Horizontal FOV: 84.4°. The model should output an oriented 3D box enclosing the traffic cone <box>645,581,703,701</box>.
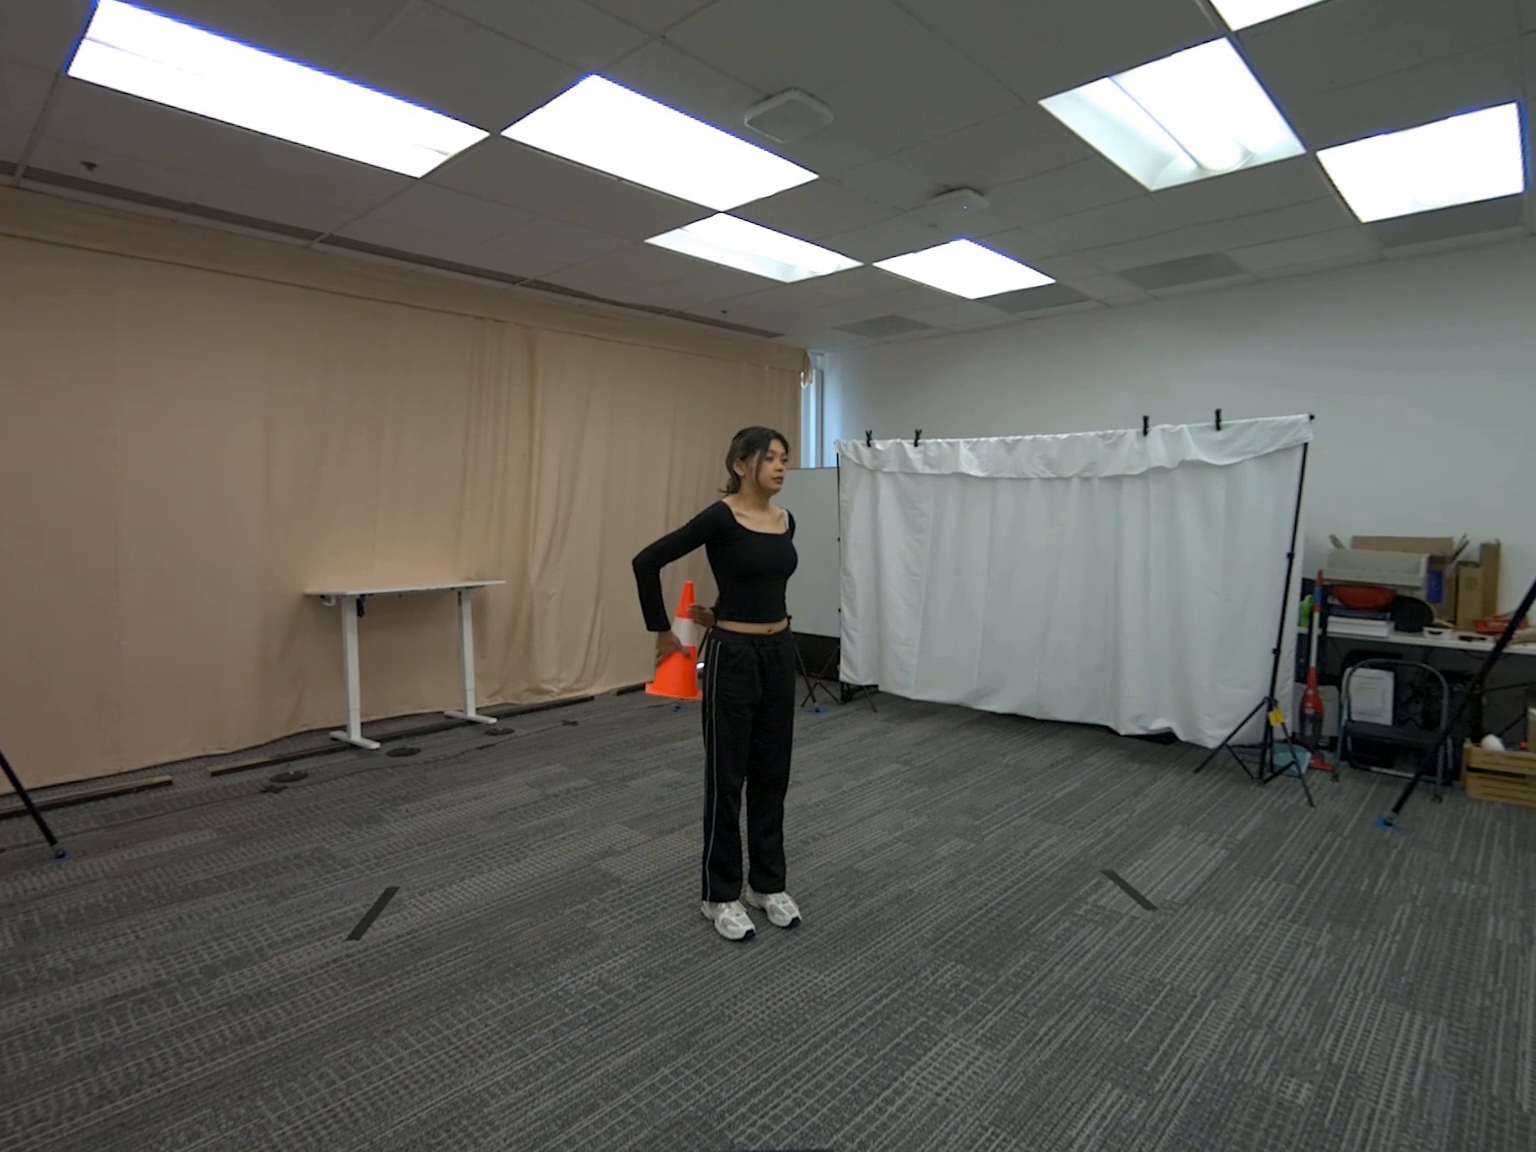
[{"bbox_3d":[-0.293,0.214,2.864,0.204,0.384,0.204,6,-2,-5],"label":"traffic cone"}]
